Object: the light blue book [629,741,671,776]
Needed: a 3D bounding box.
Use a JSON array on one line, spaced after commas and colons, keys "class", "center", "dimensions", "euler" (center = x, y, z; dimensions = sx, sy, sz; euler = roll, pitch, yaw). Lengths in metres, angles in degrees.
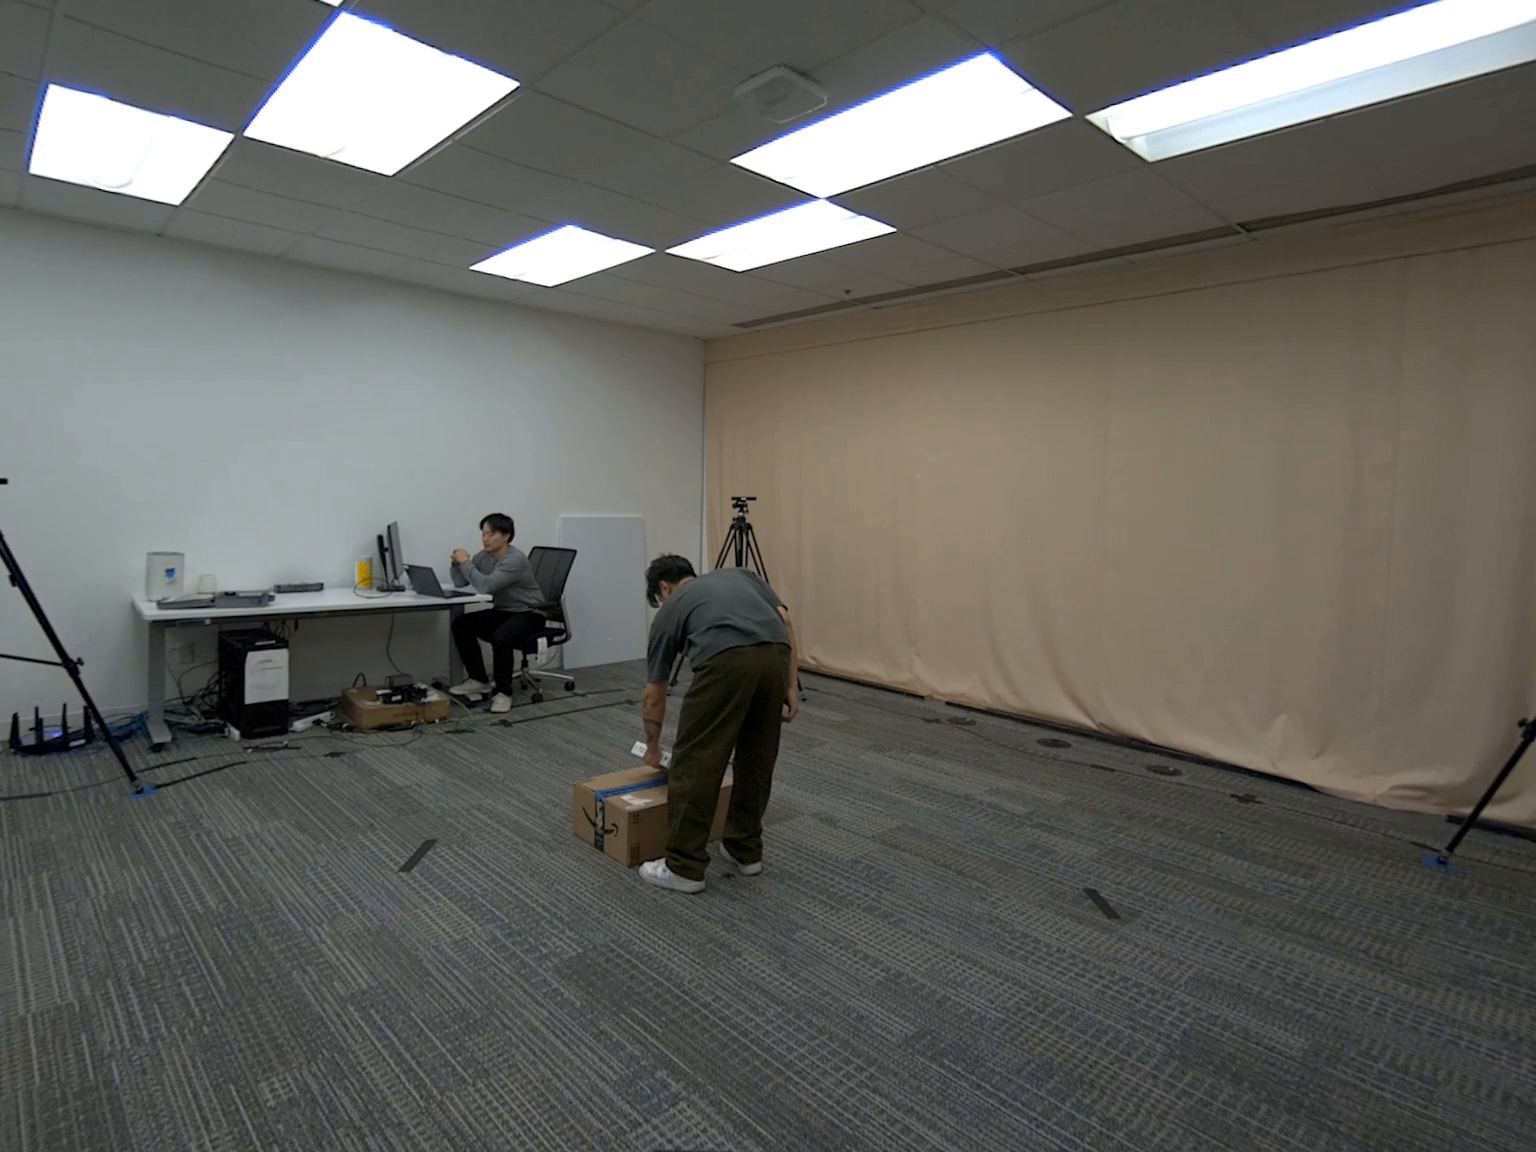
[{"class": "light blue book", "center": [-0.425, 0.779, 3.505], "dimensions": [0.267, 0.059, 0.186], "euler": [6, -29, 49]}]
